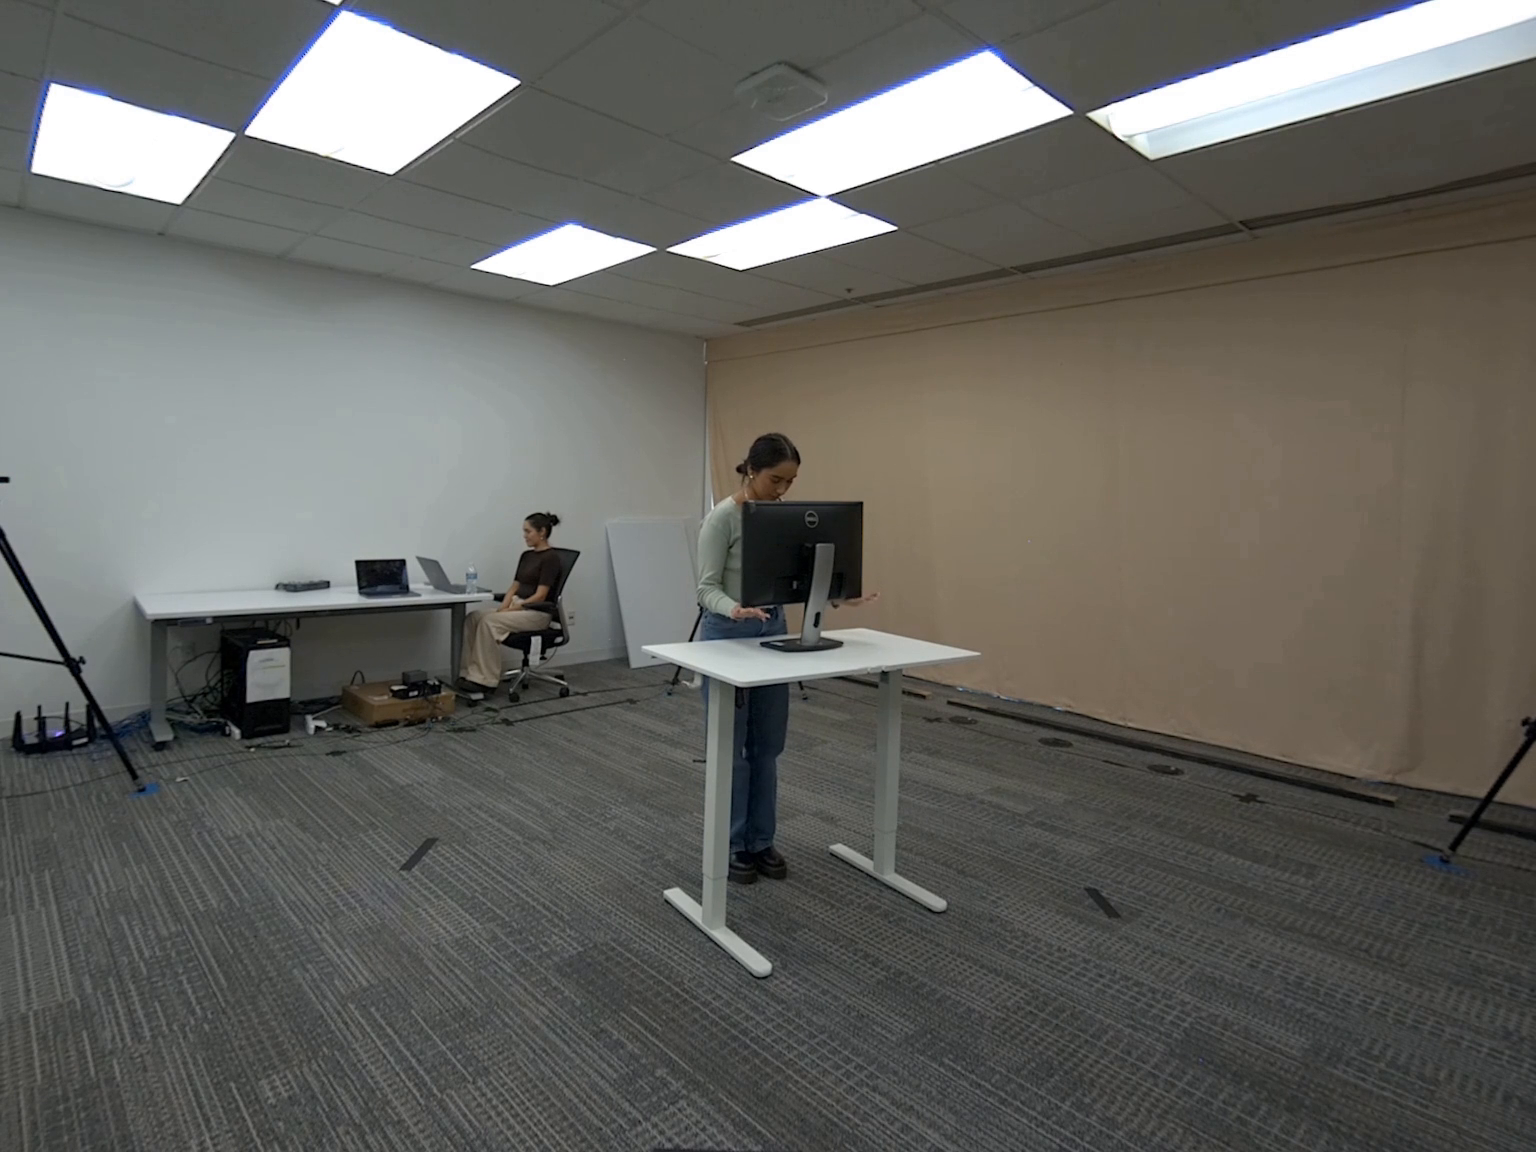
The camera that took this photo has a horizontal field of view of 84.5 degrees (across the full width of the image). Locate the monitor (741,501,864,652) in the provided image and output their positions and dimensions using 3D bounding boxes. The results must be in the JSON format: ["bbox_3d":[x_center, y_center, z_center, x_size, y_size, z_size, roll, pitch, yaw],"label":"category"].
[{"bbox_3d":[0.127,0.003,2.905,0.527,0.523,0.191,-2,-1,-37],"label":"monitor"}]
